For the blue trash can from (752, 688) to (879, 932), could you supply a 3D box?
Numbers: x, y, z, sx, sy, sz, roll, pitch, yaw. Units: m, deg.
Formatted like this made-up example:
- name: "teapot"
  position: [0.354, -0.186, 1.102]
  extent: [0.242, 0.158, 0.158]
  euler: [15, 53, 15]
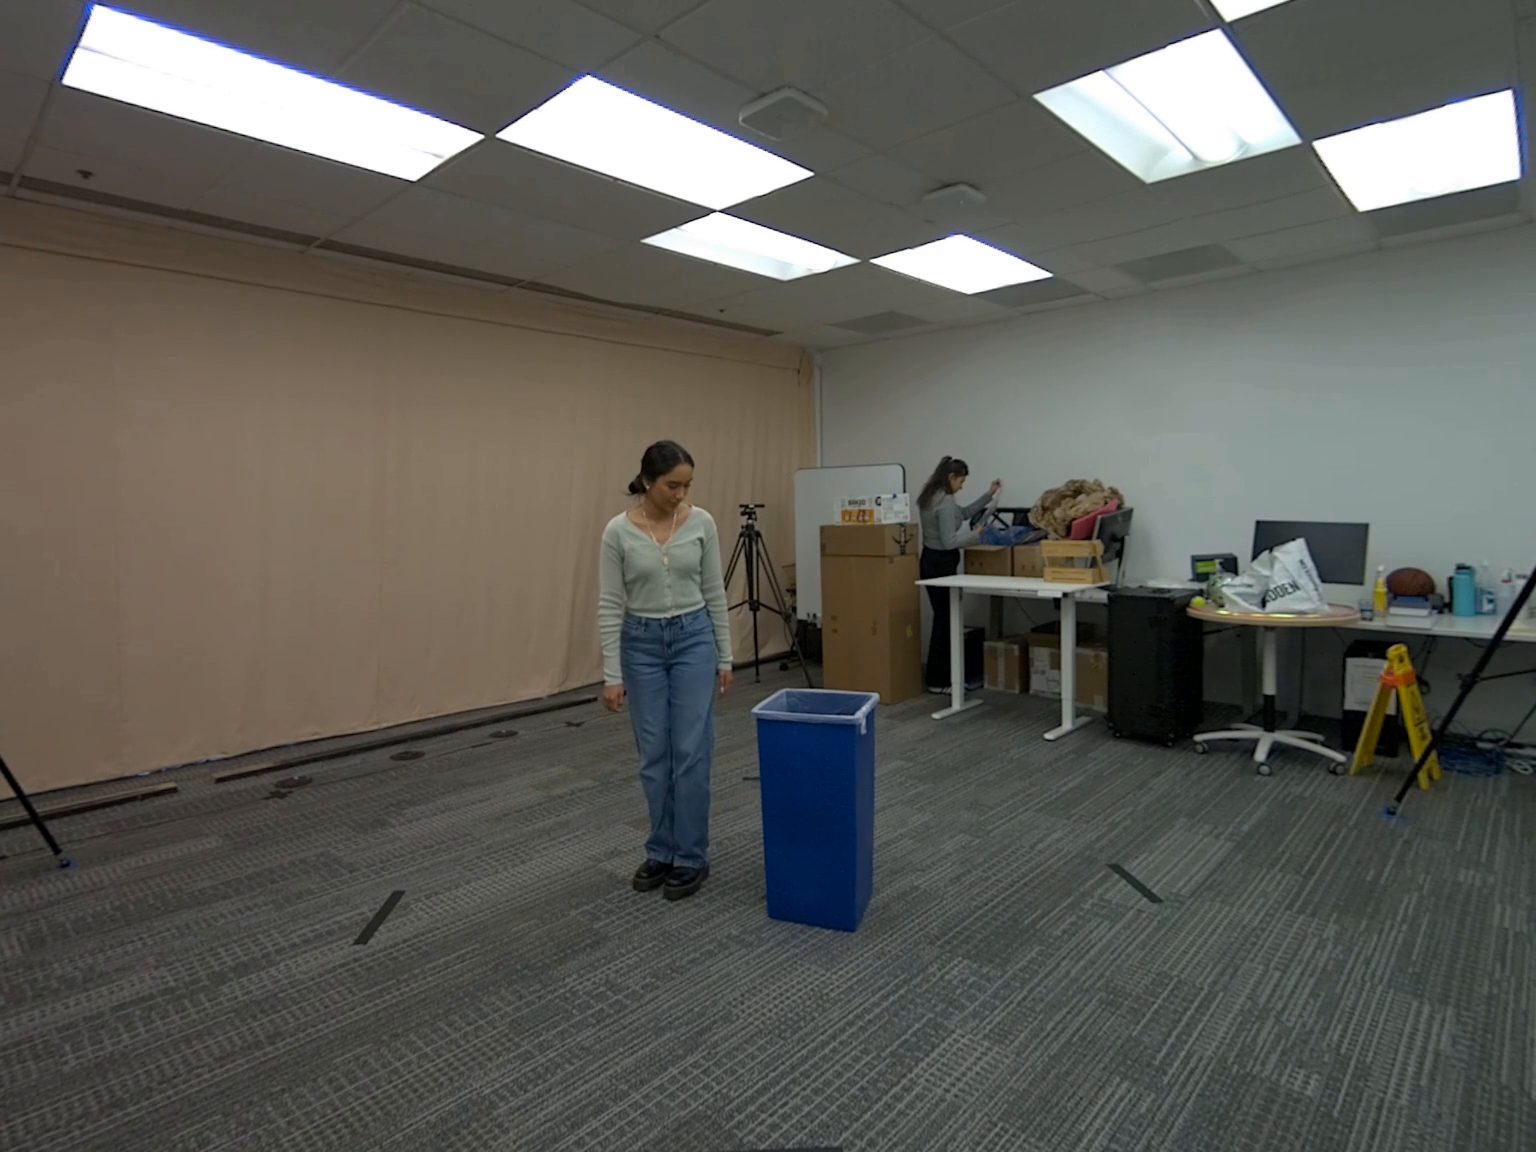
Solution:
- name: "blue trash can"
  position: [0.175, 0.786, 2.898]
  extent: [0.382, 0.712, 0.371]
  euler: [0, 3, 20]
